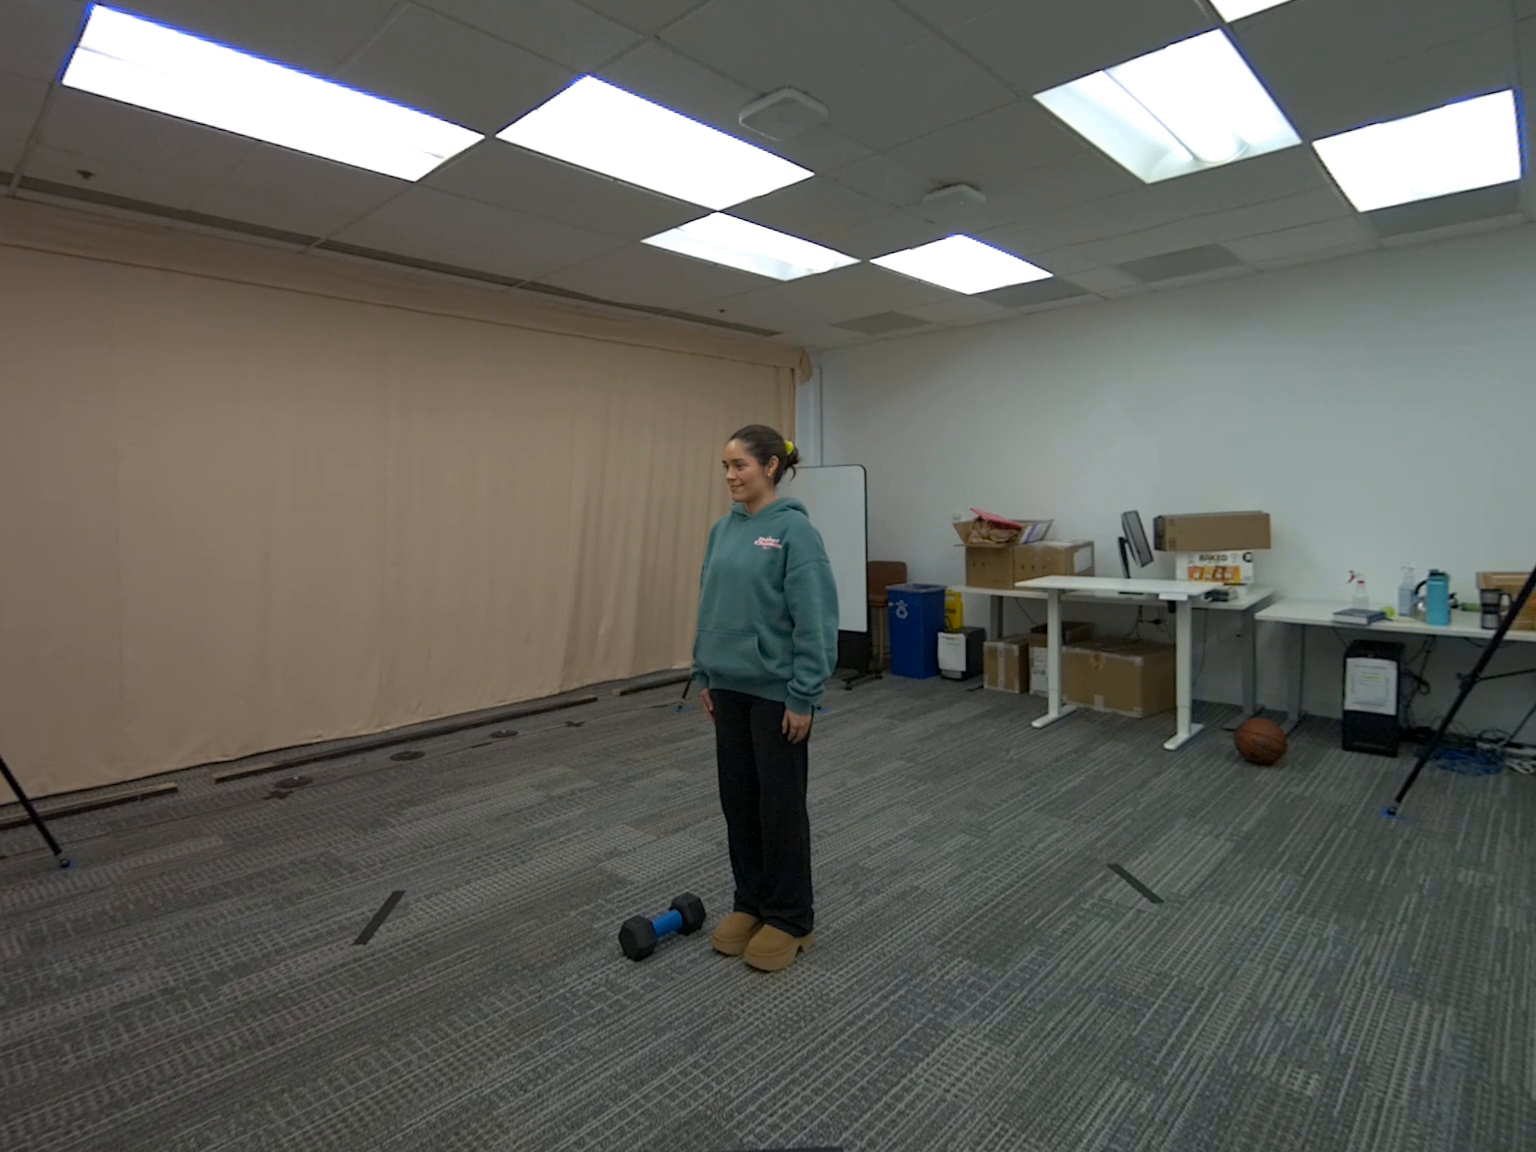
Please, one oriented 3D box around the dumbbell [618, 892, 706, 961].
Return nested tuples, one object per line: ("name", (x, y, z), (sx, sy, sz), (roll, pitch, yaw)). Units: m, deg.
("dumbbell", (-0.333, 1.122, 2.694), (0.285, 0.125, 0.110), (-6, -25, -47))
